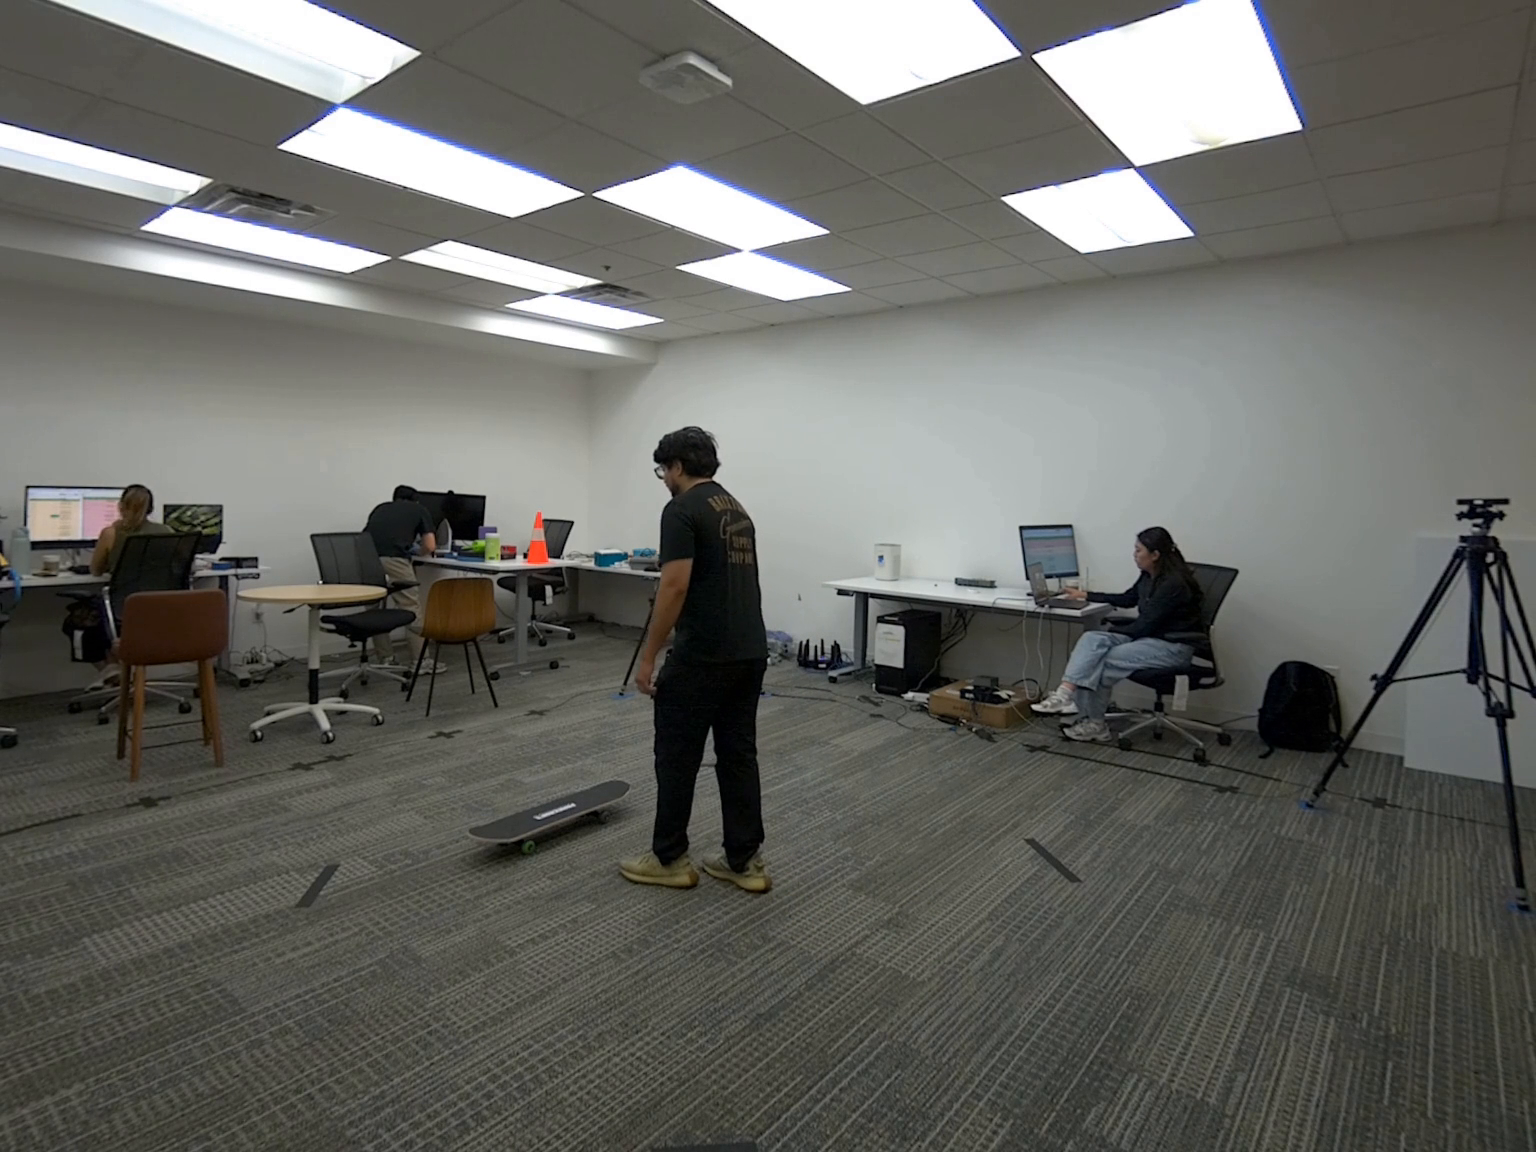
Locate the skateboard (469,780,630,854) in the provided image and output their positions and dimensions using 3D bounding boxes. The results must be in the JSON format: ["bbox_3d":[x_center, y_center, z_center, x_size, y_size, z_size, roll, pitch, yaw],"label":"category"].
[{"bbox_3d":[-0.872,0.977,3.419,0.200,0.110,0.763,4,5,36],"label":"skateboard"}]
